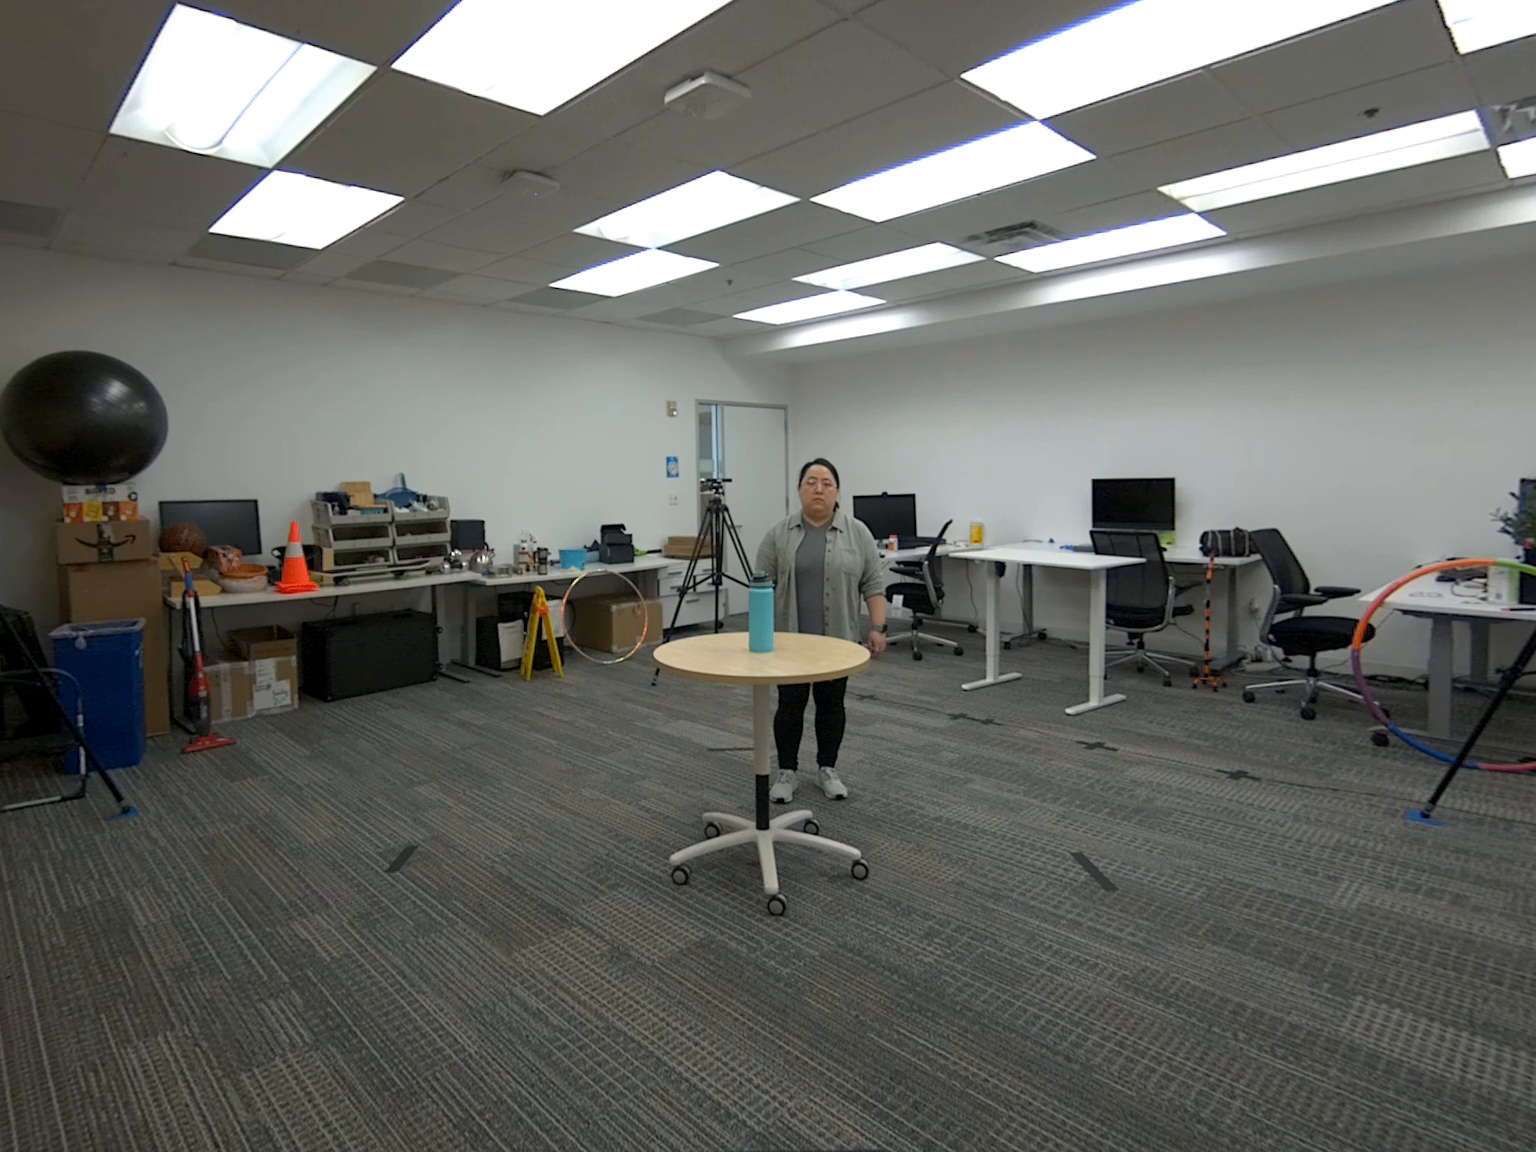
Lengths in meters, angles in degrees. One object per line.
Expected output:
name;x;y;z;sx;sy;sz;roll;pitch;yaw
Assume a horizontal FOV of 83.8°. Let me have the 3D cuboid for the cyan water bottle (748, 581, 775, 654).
cyan water bottle;-0.020;0.128;3.051;0.092;0.283;0.092;1;1;-2
